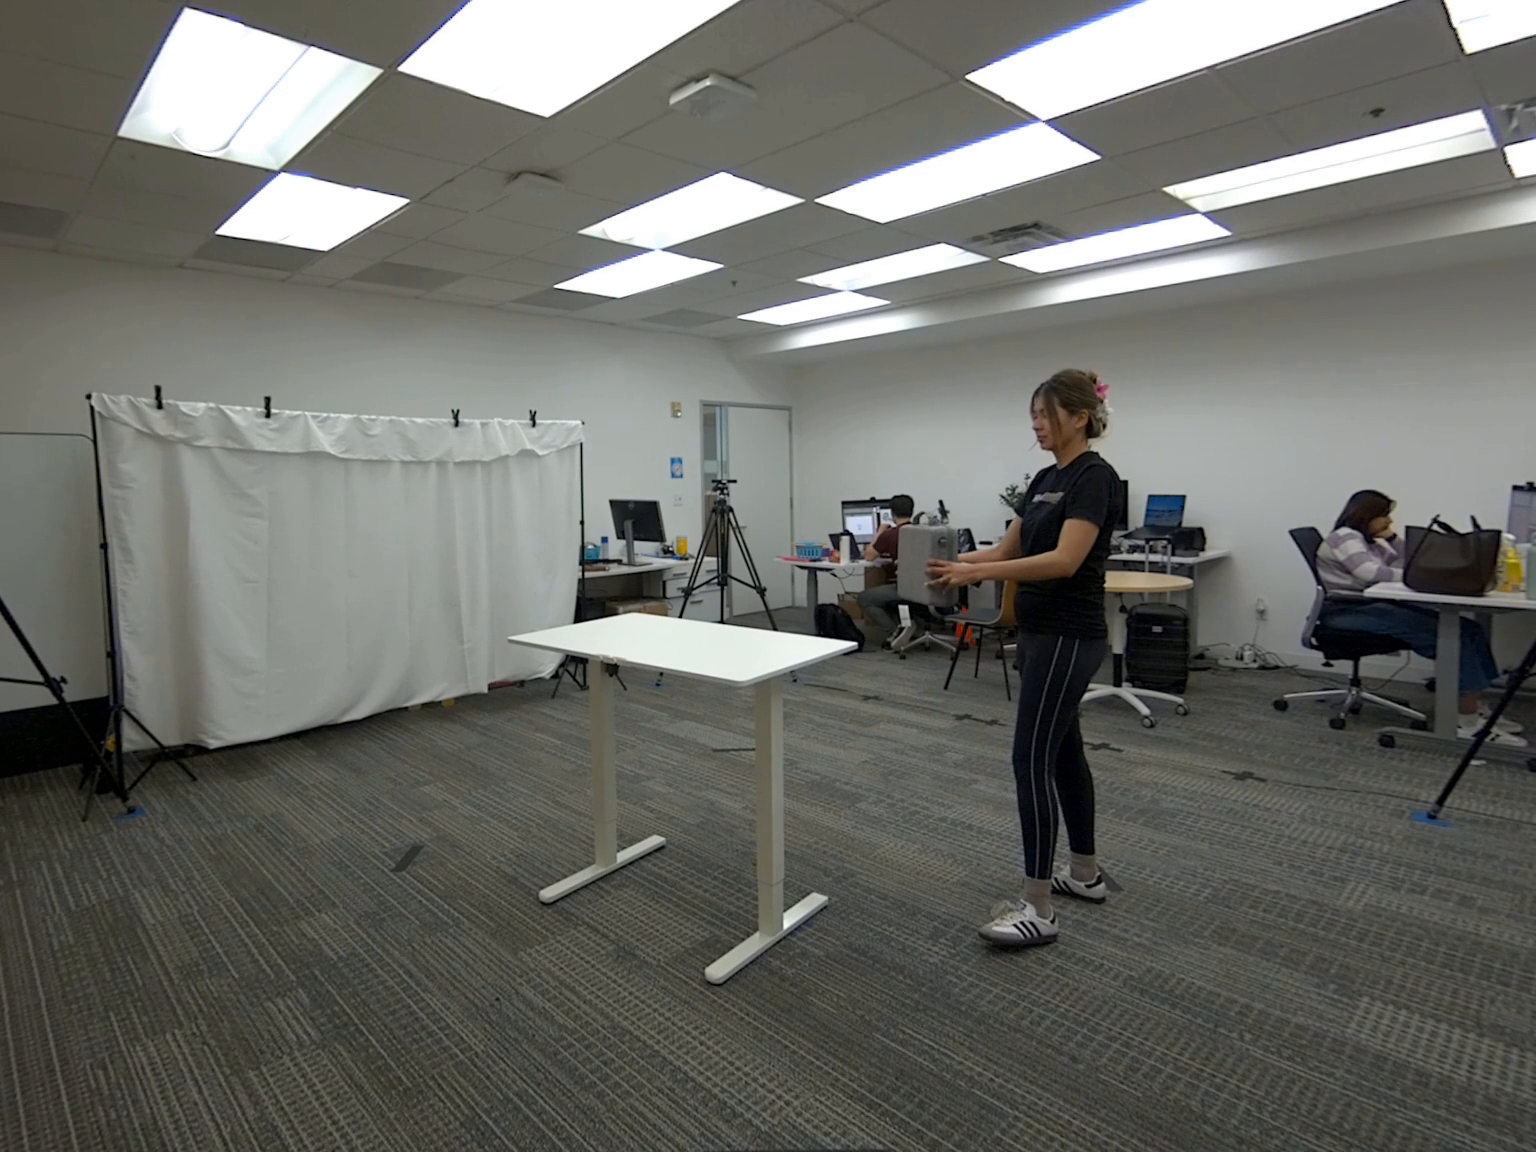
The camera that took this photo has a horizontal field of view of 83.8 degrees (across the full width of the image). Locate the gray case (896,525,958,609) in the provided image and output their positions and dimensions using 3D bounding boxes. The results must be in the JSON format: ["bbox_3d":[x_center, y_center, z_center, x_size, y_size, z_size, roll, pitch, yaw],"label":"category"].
[{"bbox_3d":[0.517,-0.043,2.738,0.103,0.260,0.261,-3,3,-14],"label":"gray case"}]
